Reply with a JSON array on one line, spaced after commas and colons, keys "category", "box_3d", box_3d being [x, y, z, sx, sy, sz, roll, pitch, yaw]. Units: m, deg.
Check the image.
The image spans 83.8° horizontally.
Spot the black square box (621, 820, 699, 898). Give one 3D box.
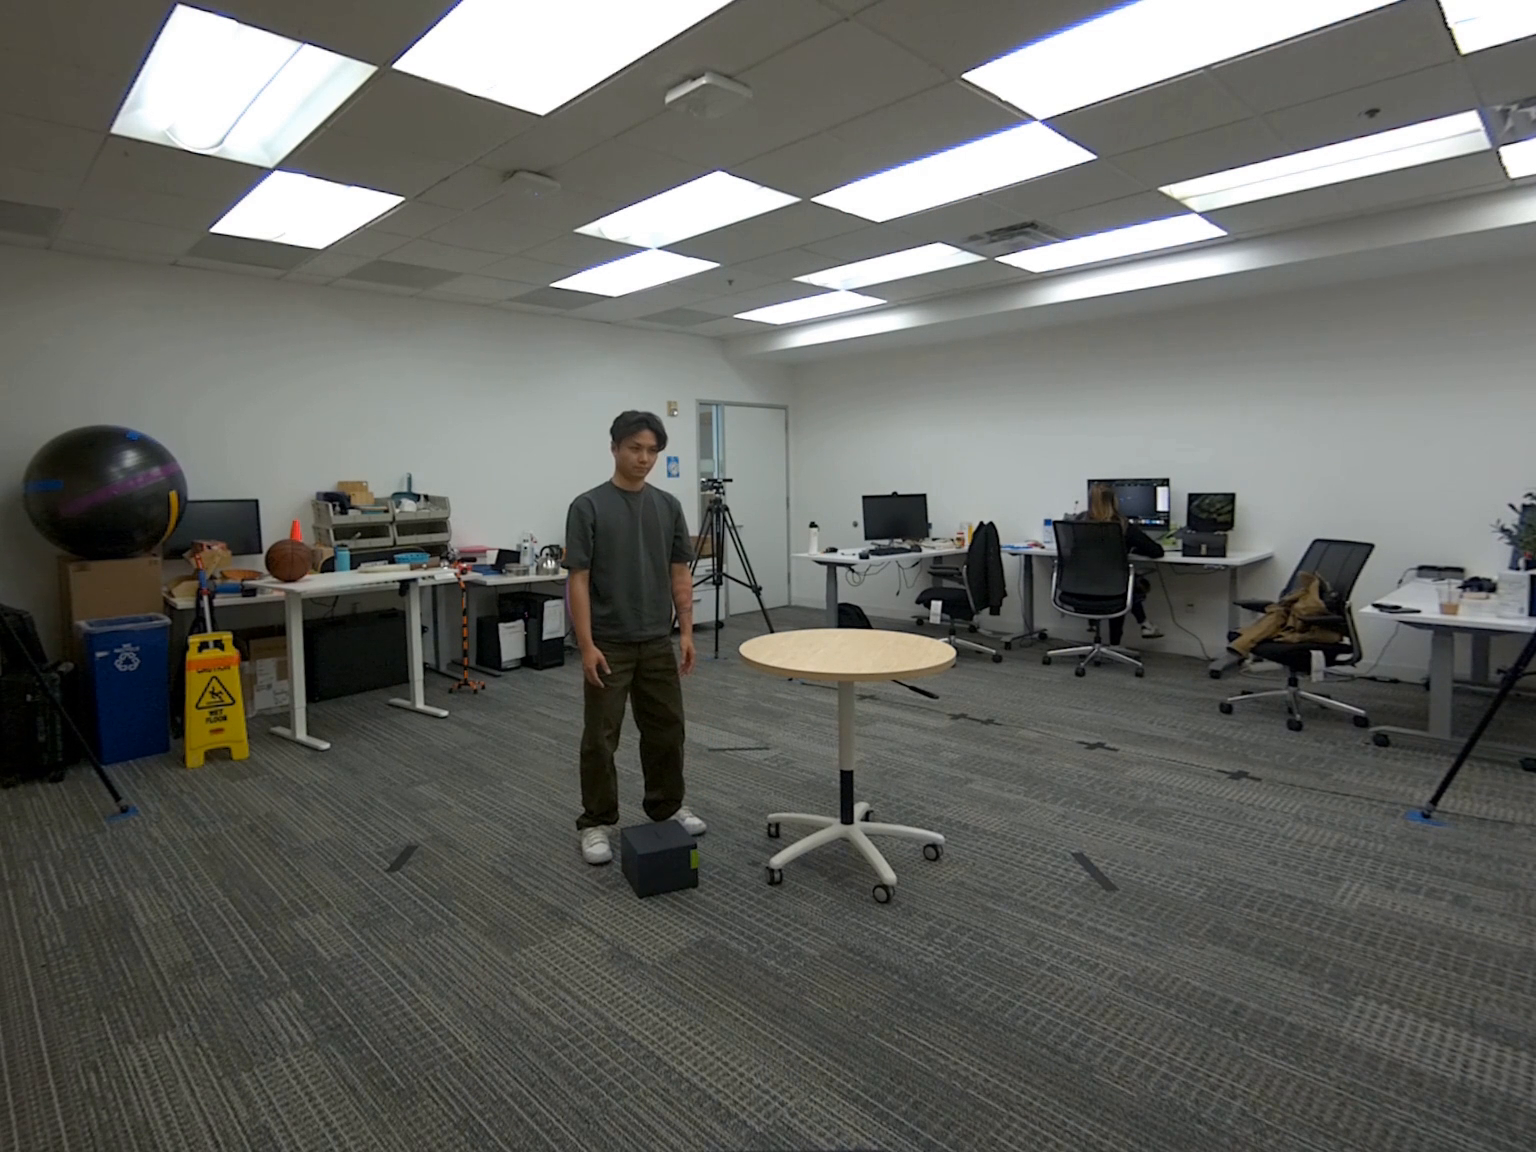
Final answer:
[{"category": "black square box", "box_3d": [-0.379, 0.981, 2.990, 0.212, 0.155, 0.234, -3, 6, -24]}]
